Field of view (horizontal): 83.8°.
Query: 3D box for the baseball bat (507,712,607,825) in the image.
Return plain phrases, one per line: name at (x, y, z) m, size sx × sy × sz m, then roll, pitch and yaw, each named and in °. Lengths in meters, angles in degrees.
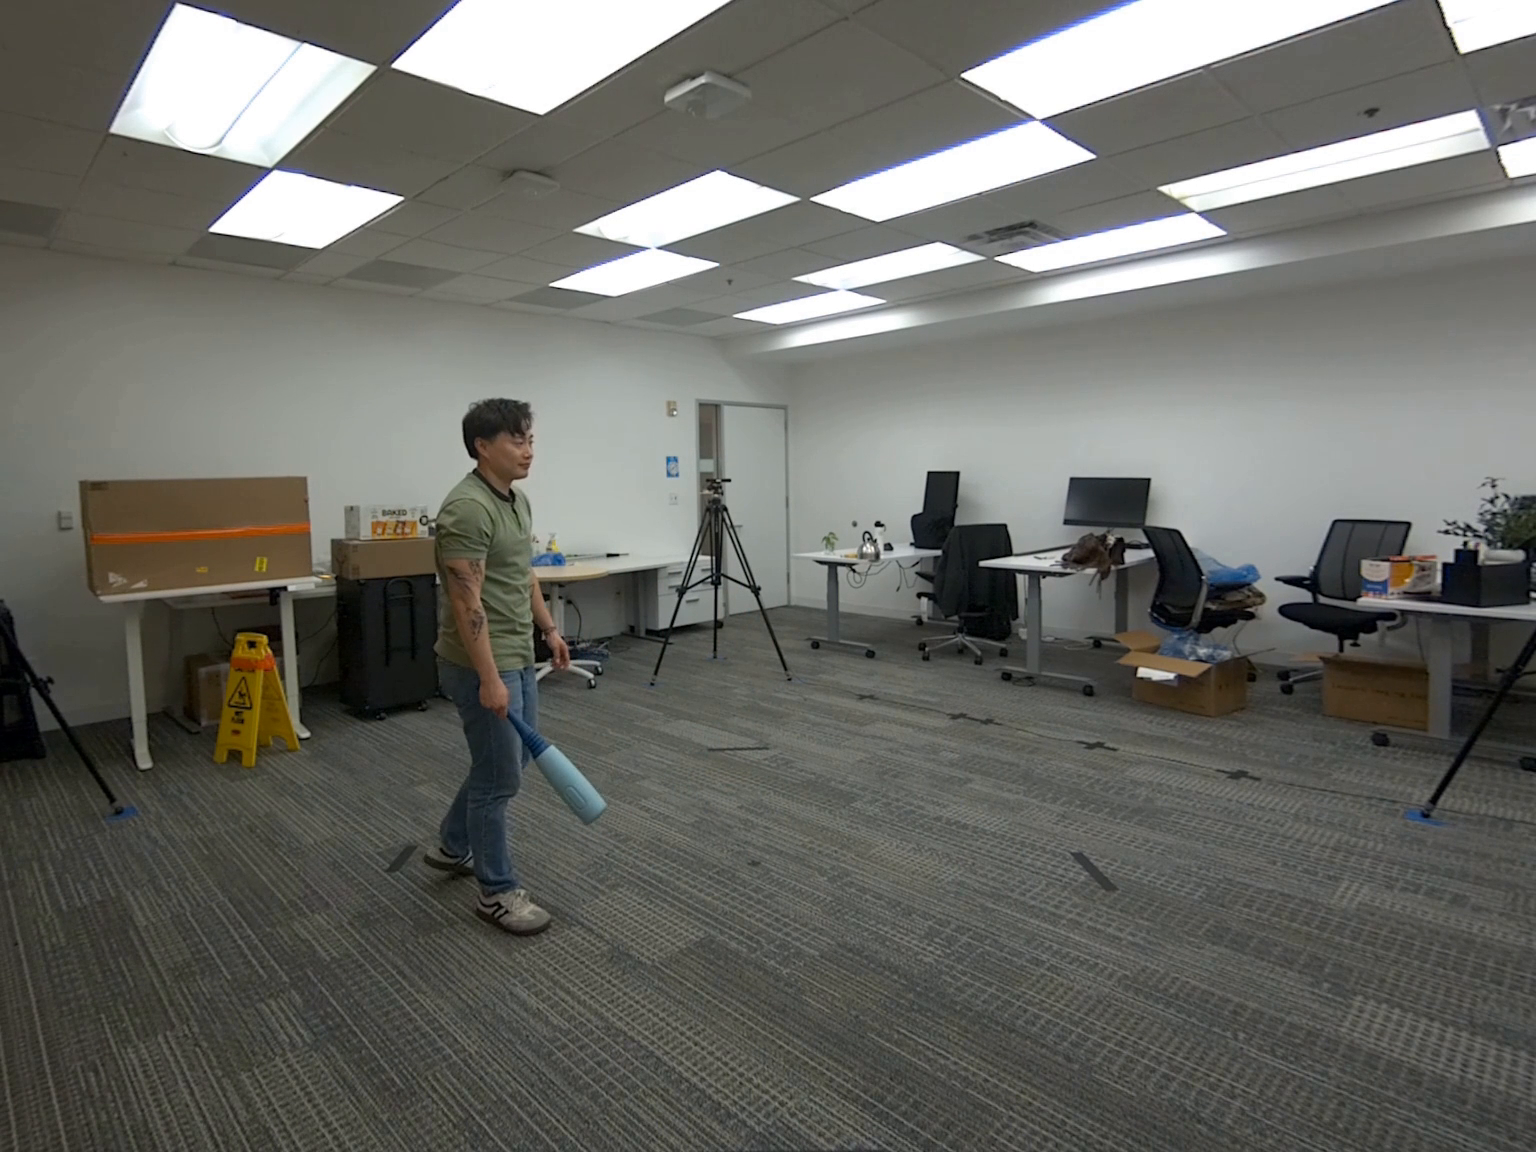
baseball bat at (-0.681, 0.511, 2.545) m, size 0.089 × 0.549 × 0.088 m, roll -42°, pitch -8°, yaw -7°
